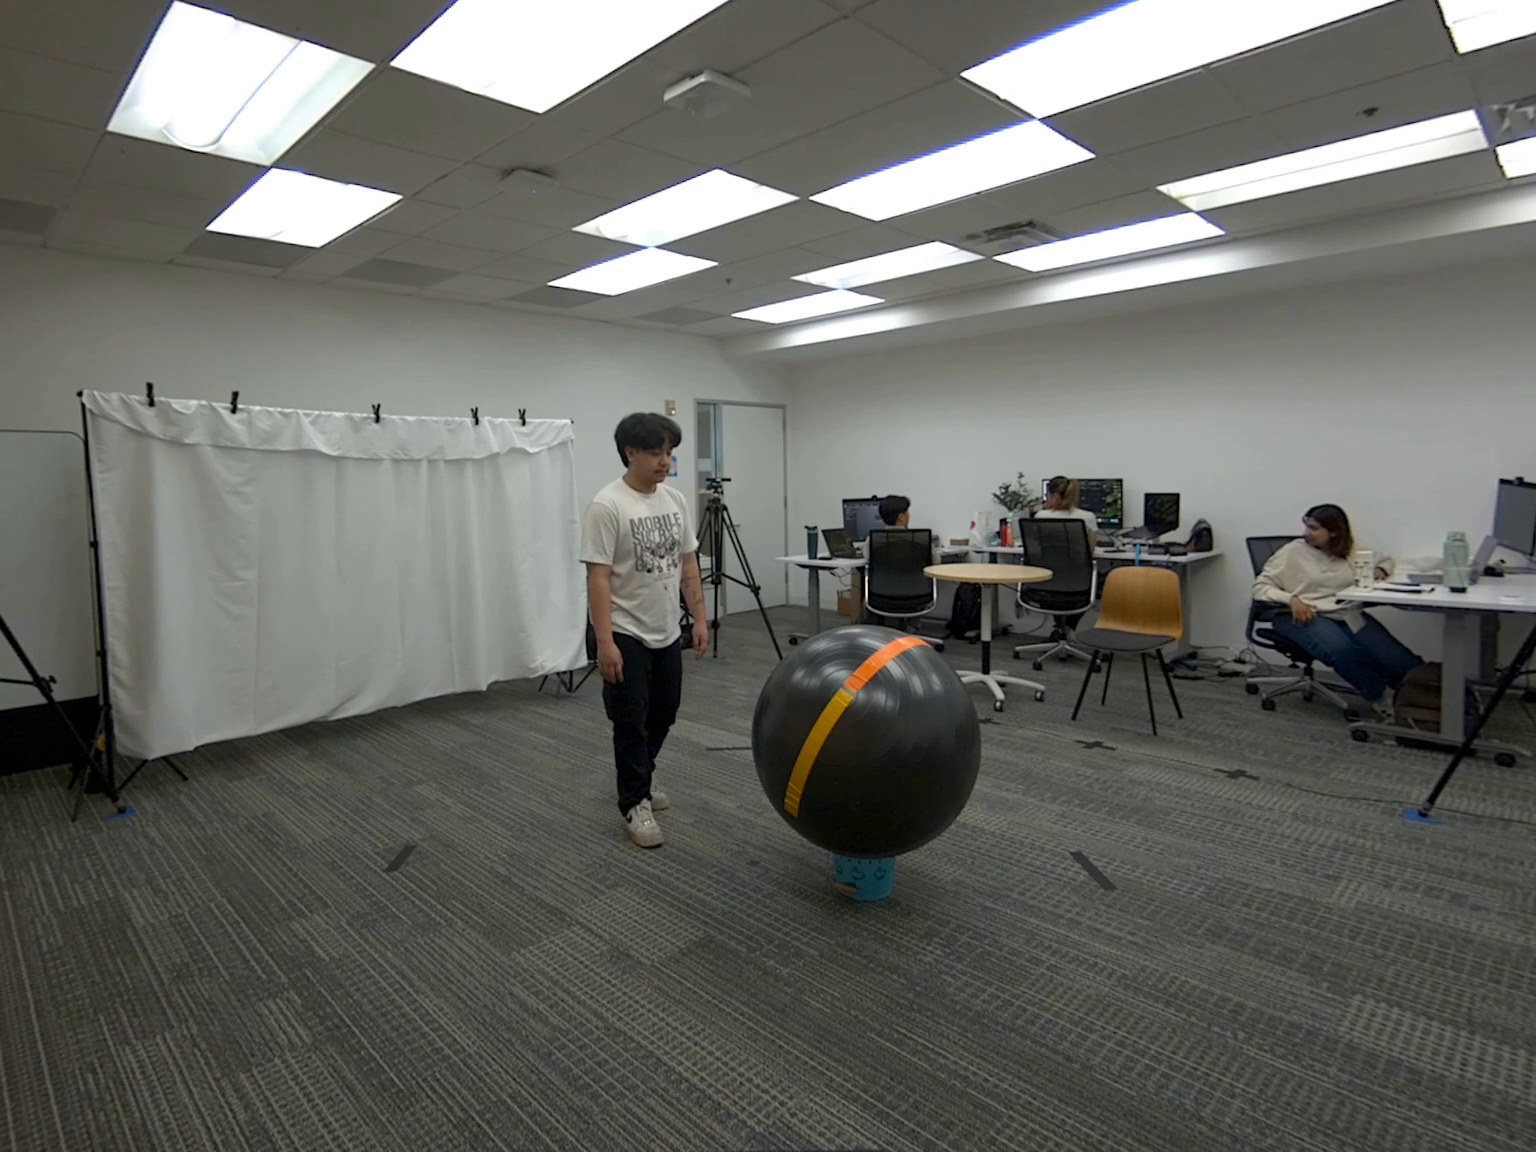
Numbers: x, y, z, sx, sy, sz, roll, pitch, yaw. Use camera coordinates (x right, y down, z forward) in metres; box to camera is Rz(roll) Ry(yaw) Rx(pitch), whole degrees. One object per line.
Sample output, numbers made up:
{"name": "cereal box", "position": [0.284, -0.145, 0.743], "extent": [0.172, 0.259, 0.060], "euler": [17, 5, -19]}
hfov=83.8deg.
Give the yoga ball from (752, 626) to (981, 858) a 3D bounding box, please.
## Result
{"name": "yoga ball", "position": [0.321, 0.549, 2.874], "extent": [0.757, 0.755, 0.762], "euler": [-1, 5, -2]}
